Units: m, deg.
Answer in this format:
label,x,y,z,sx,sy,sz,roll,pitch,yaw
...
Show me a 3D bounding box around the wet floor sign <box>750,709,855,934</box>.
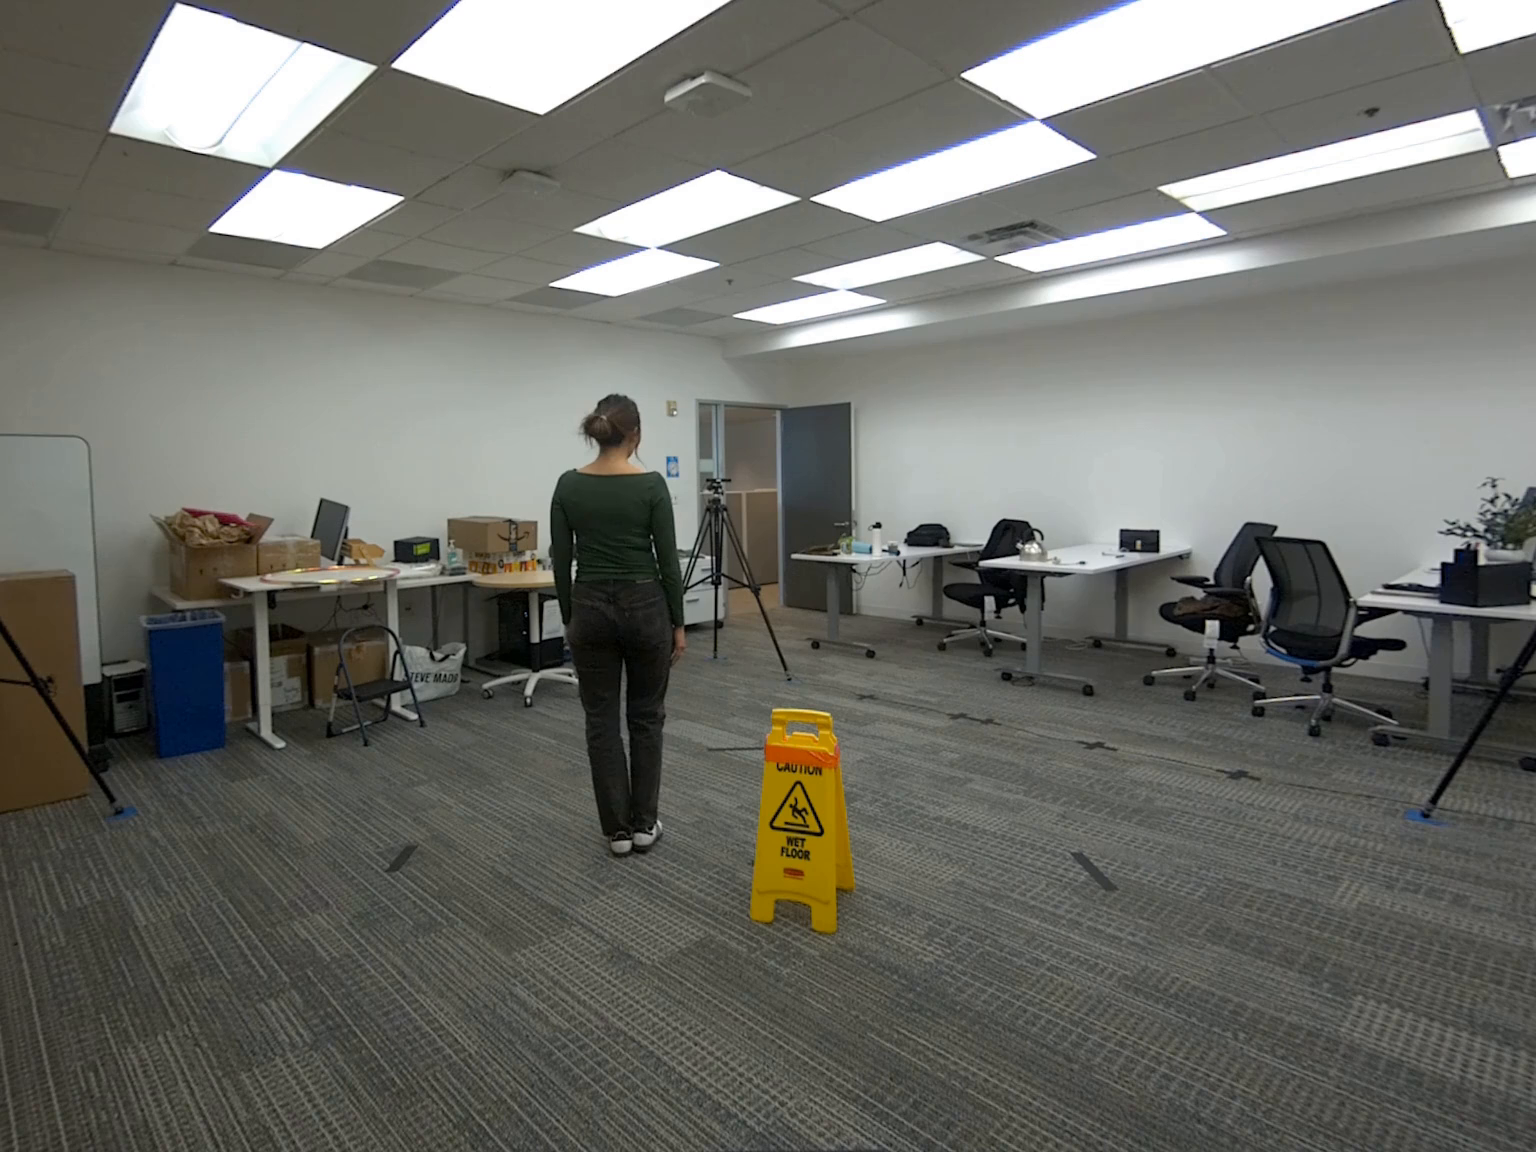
label,x,y,z,sx,sy,sz,roll,pitch,yaw
wet floor sign,0.118,0.755,2.782,0.287,0.644,0.285,1,4,19
